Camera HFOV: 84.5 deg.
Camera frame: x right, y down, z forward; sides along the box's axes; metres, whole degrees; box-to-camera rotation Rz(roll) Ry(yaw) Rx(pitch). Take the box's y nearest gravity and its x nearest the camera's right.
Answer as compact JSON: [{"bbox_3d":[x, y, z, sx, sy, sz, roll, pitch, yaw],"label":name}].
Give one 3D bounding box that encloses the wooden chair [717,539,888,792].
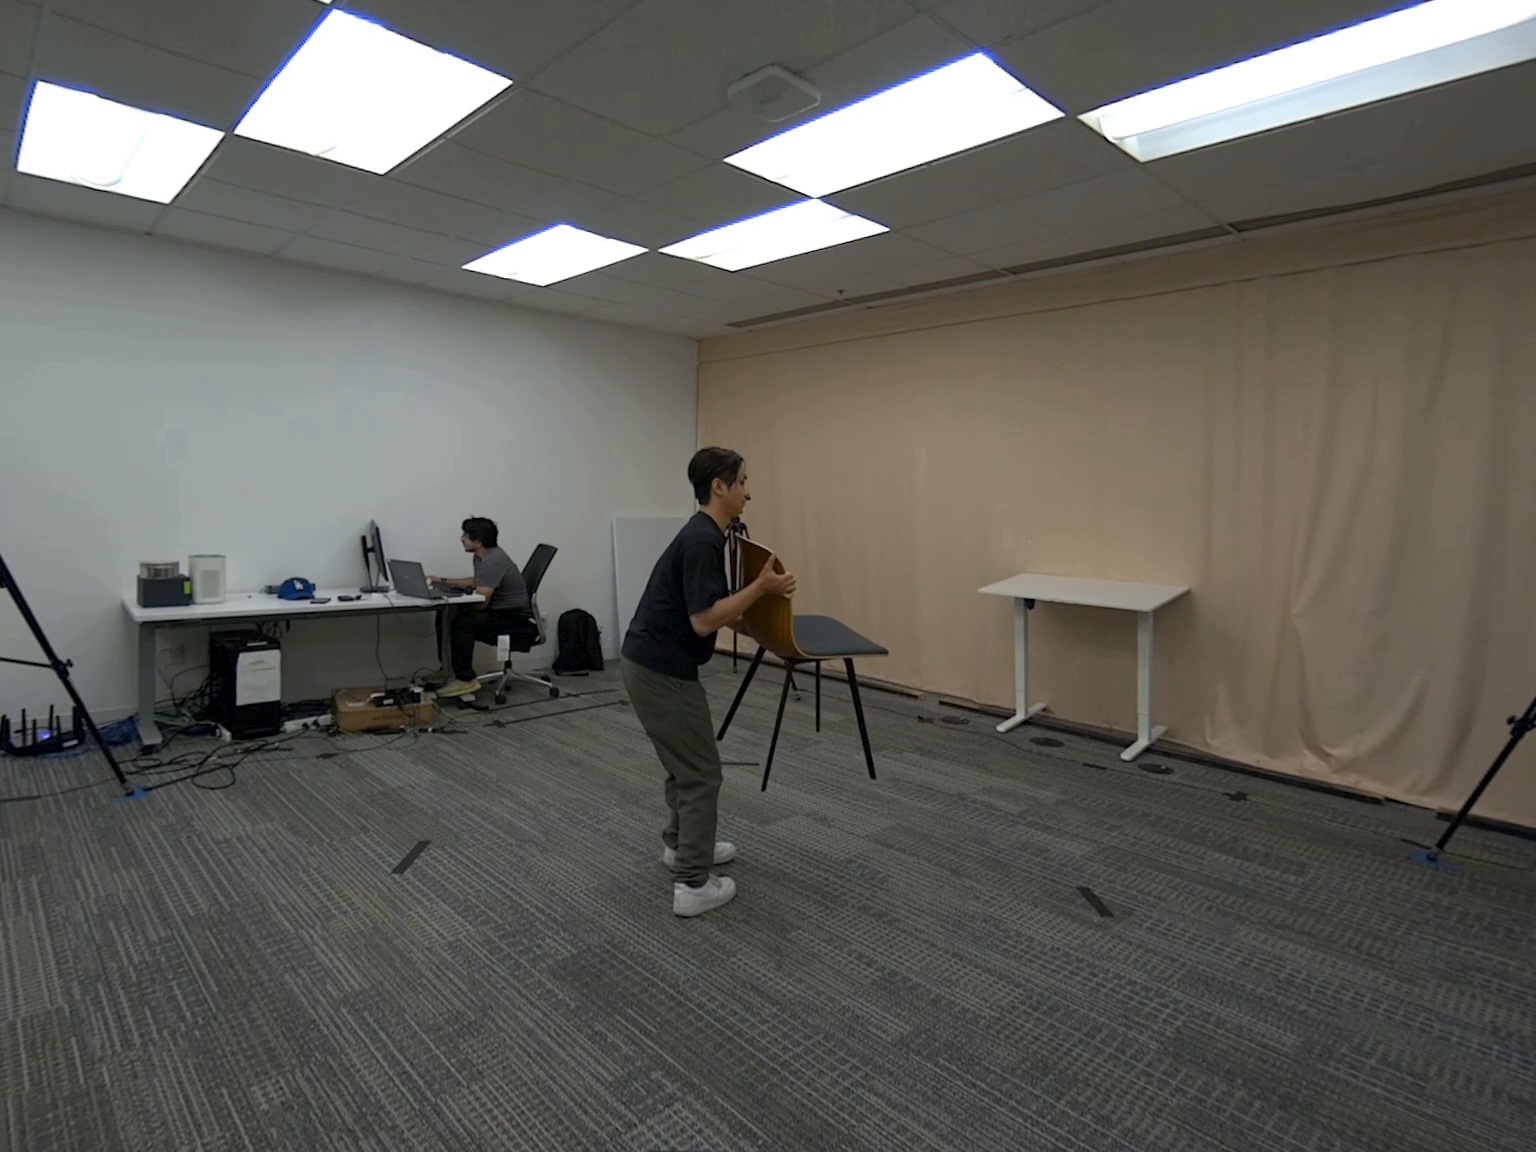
[{"bbox_3d":[0.132,0.276,3.097,0.515,0.870,0.490,-4,13,-23],"label":"wooden chair"}]
